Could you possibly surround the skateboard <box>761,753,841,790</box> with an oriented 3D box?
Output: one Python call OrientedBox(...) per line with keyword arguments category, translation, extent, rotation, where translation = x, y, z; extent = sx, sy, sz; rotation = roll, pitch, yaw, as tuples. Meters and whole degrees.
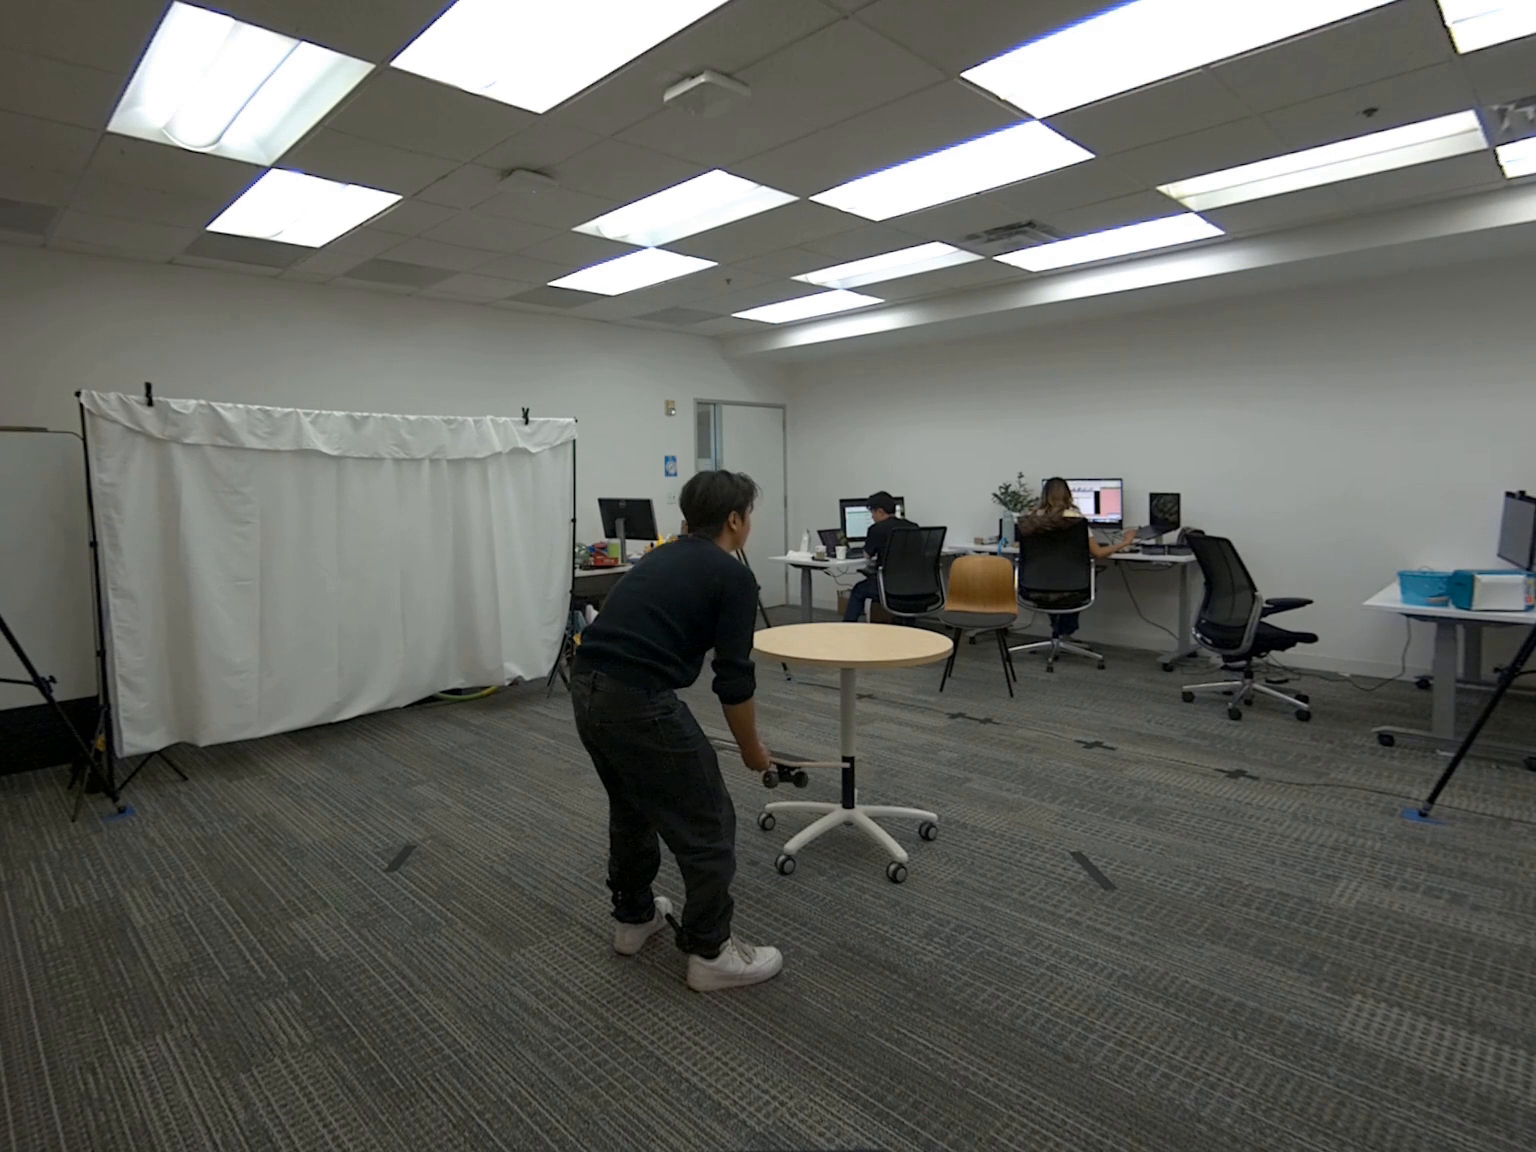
OrientedBox(category="skateboard", translation=(-0.089, 0.576, 2.696), extent=(0.809, 0.111, 0.187), rotation=(4, -7, 39))
